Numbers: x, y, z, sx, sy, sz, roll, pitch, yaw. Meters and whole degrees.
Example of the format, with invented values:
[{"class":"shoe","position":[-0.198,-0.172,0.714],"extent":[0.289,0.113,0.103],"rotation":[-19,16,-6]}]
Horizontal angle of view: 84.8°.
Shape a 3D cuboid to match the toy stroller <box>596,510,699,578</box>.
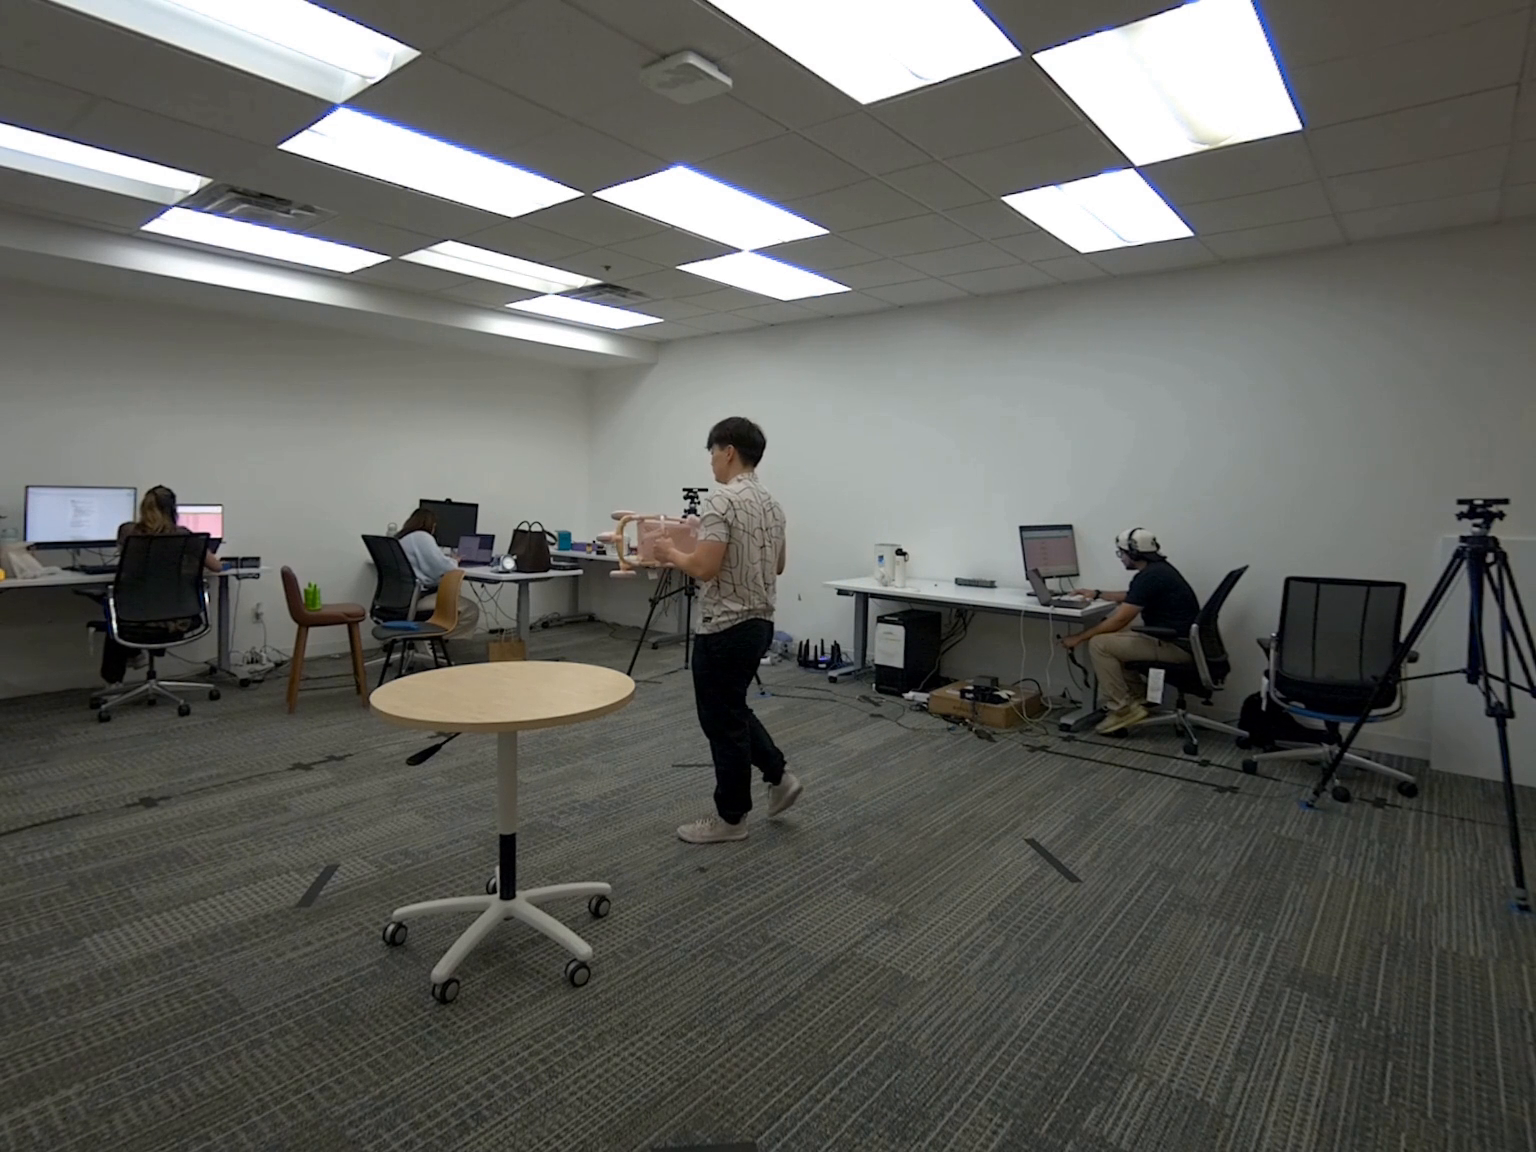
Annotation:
[{"class":"toy stroller","position":[-0.448,-0.143,3.525],"extent":[0.529,0.284,0.342],"rotation":[1,-9,-10]}]
